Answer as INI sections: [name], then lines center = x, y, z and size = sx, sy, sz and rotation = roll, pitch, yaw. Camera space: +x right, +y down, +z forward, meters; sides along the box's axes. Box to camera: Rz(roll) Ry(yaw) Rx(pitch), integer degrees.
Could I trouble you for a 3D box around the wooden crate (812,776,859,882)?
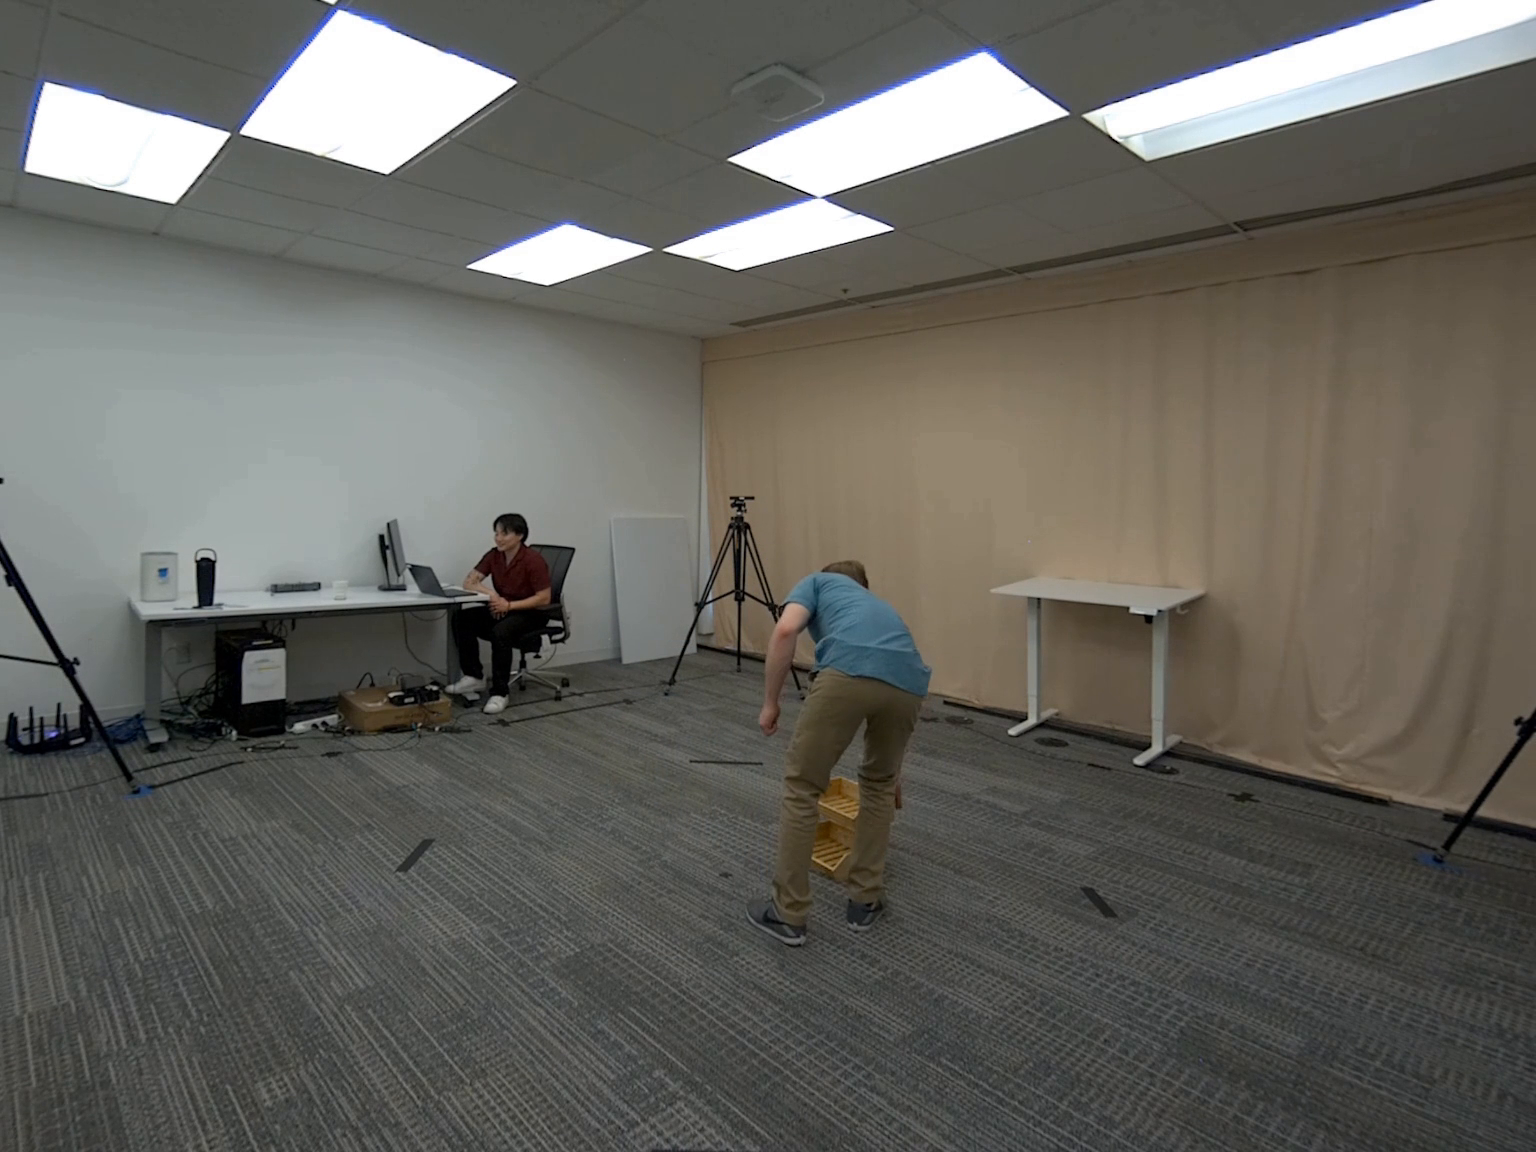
[wooden crate]
center = 0.269, 0.970, 3.262
size = 0.295, 0.273, 0.332
rotation = 0, 3, -34
